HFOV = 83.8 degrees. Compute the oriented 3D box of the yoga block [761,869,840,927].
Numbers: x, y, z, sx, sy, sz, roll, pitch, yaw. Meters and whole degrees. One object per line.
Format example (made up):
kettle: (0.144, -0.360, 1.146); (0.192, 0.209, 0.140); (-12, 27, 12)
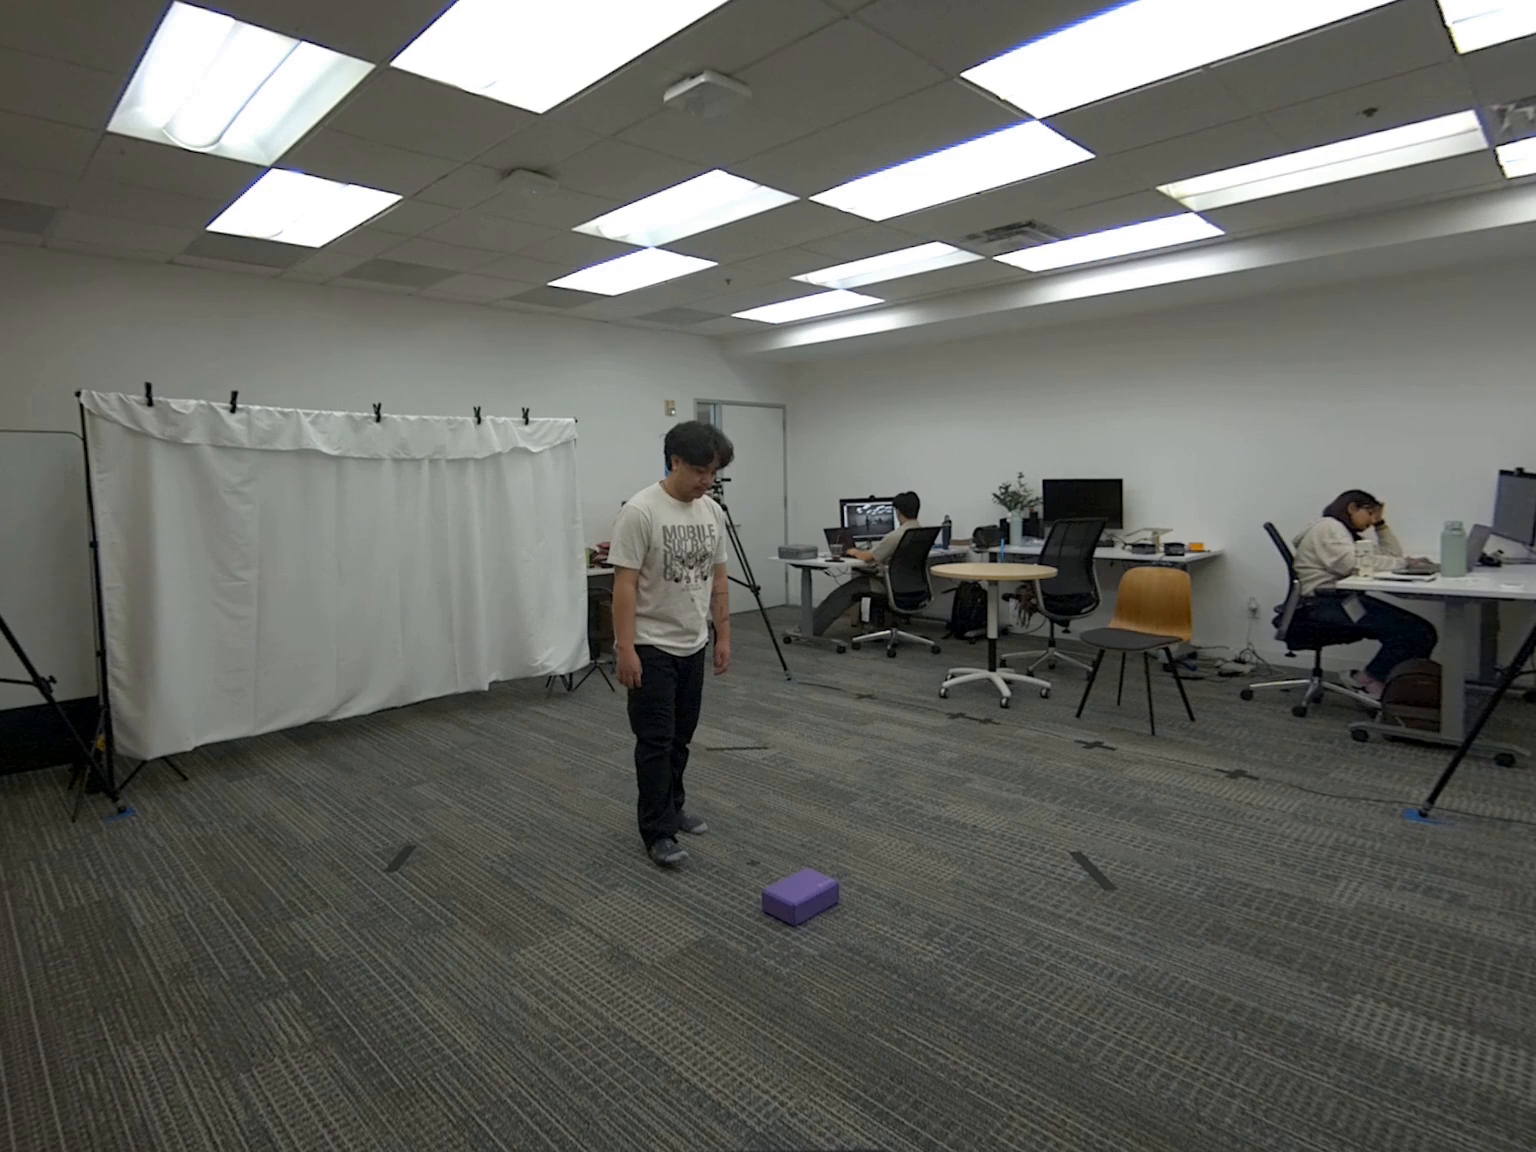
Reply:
yoga block: (0.111, 1.040, 2.774); (0.153, 0.076, 0.223); (4, 8, 44)
